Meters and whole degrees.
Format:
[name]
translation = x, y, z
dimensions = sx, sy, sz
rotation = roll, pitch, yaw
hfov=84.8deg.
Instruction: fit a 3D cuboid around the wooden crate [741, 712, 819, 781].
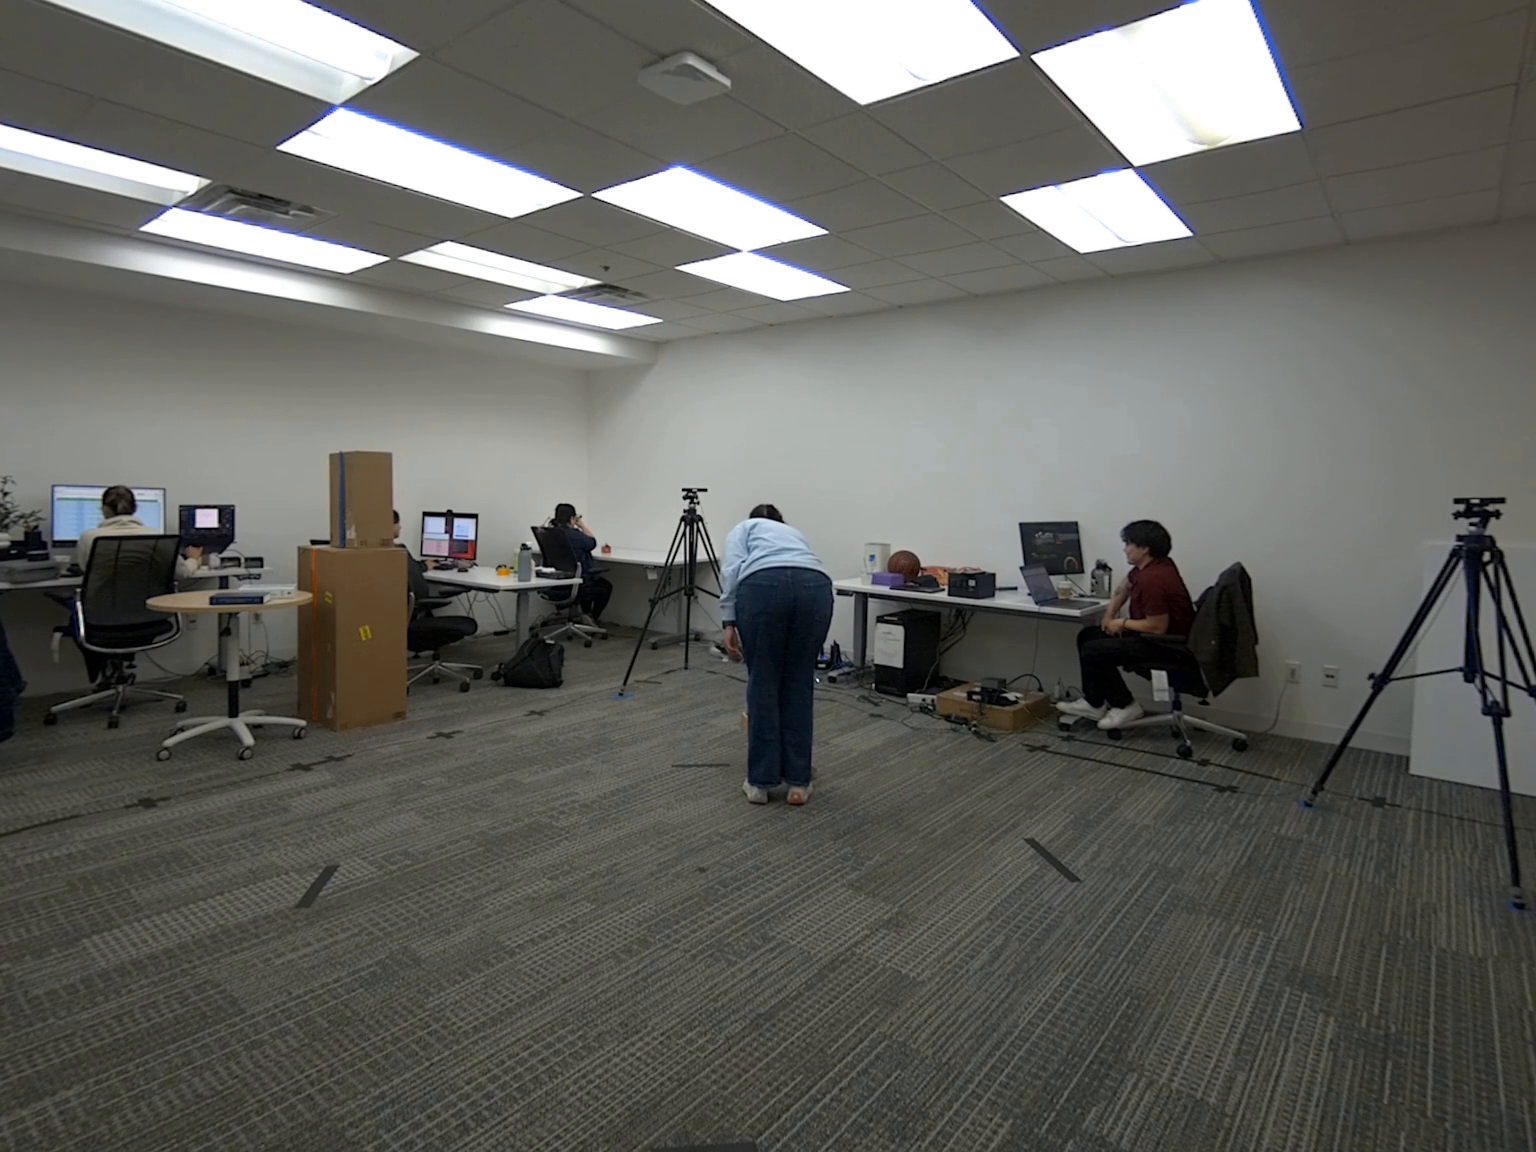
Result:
[wooden crate]
translation = 0.049, 0.828, 4.229
dimensions = 0.298, 0.272, 0.330
rotation = -2, 5, -15
